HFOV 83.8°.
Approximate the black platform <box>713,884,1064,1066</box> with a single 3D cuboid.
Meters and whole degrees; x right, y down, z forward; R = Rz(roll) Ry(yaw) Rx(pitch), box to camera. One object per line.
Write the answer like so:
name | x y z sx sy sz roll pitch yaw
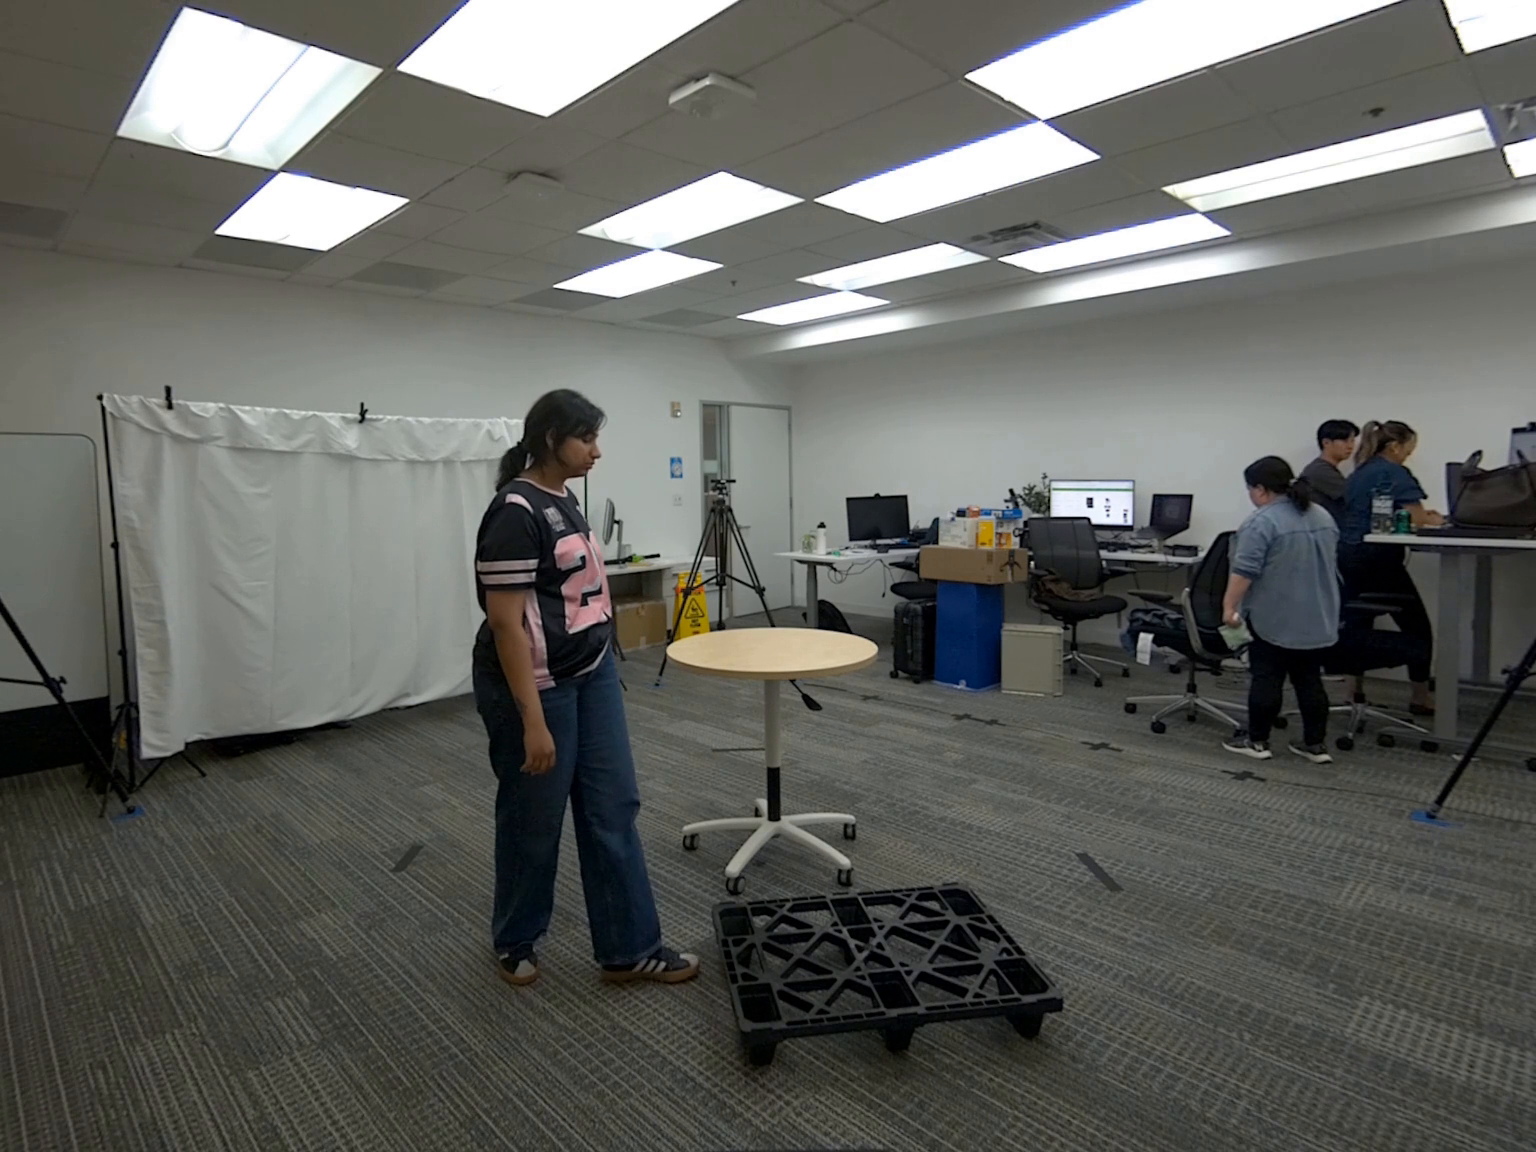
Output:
black platform | 0.278 1.065 2.316 0.800 0.143 0.612 -2 6 -8
